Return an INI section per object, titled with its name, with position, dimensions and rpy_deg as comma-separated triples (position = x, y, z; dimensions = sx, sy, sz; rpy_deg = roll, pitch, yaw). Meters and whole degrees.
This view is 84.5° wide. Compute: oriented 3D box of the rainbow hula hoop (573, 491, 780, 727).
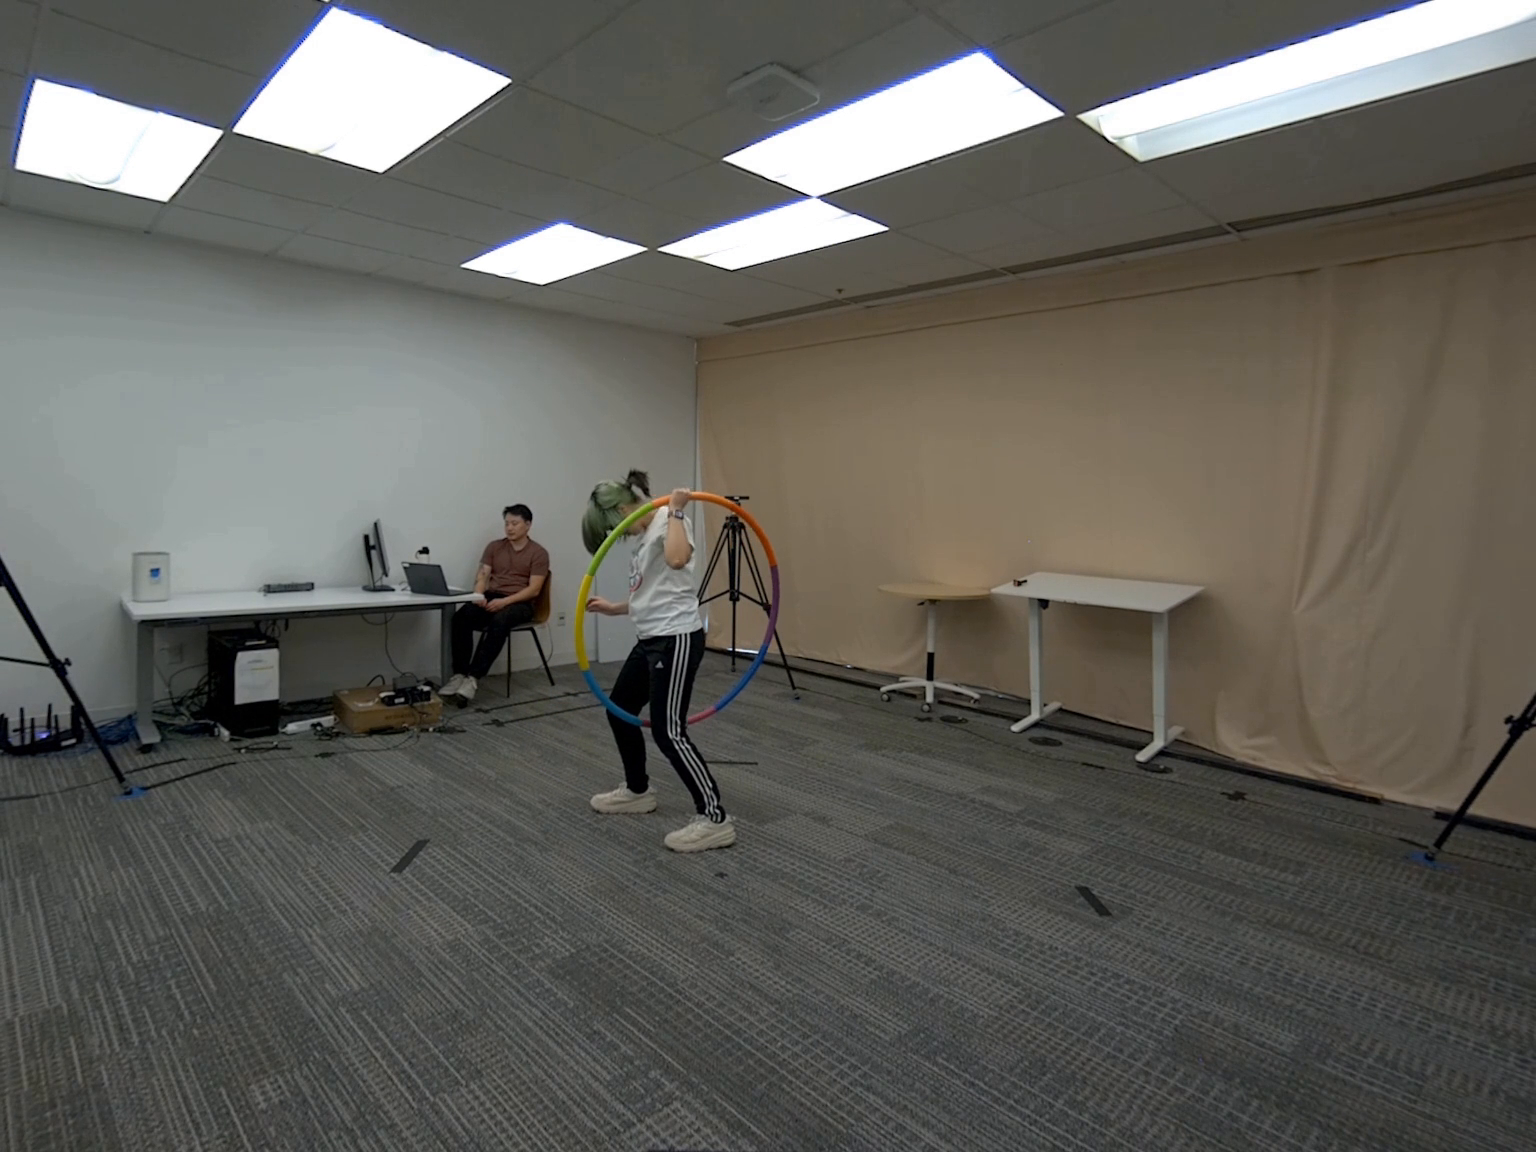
[rainbow hula hoop]
position = -0.343, 0.148, 3.447
dimensions = 0.957, 0.973, 0.036
rpy_deg = -2, 11, -36
